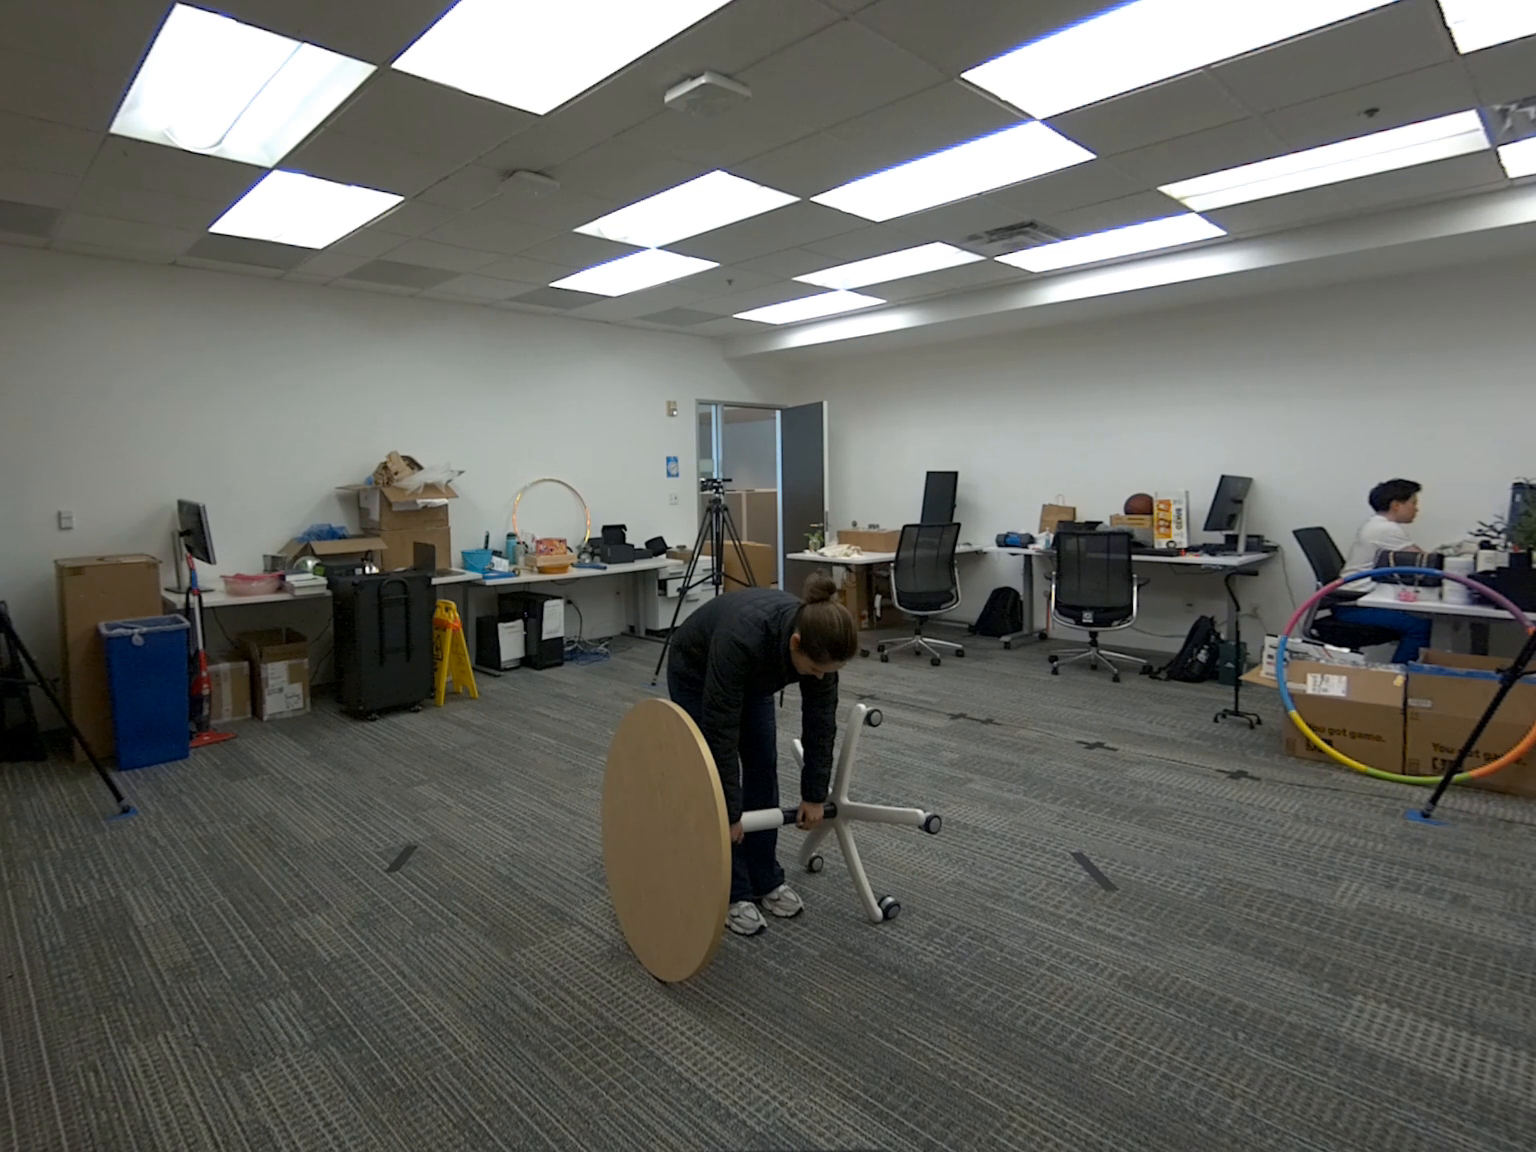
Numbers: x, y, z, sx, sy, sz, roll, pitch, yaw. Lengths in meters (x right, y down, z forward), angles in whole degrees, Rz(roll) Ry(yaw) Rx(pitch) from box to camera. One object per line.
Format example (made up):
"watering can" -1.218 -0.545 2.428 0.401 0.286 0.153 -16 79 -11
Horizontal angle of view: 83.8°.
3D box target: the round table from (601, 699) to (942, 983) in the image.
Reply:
"round table" -0.005 0.760 2.683 0.764 0.785 0.808 4 1 -34
